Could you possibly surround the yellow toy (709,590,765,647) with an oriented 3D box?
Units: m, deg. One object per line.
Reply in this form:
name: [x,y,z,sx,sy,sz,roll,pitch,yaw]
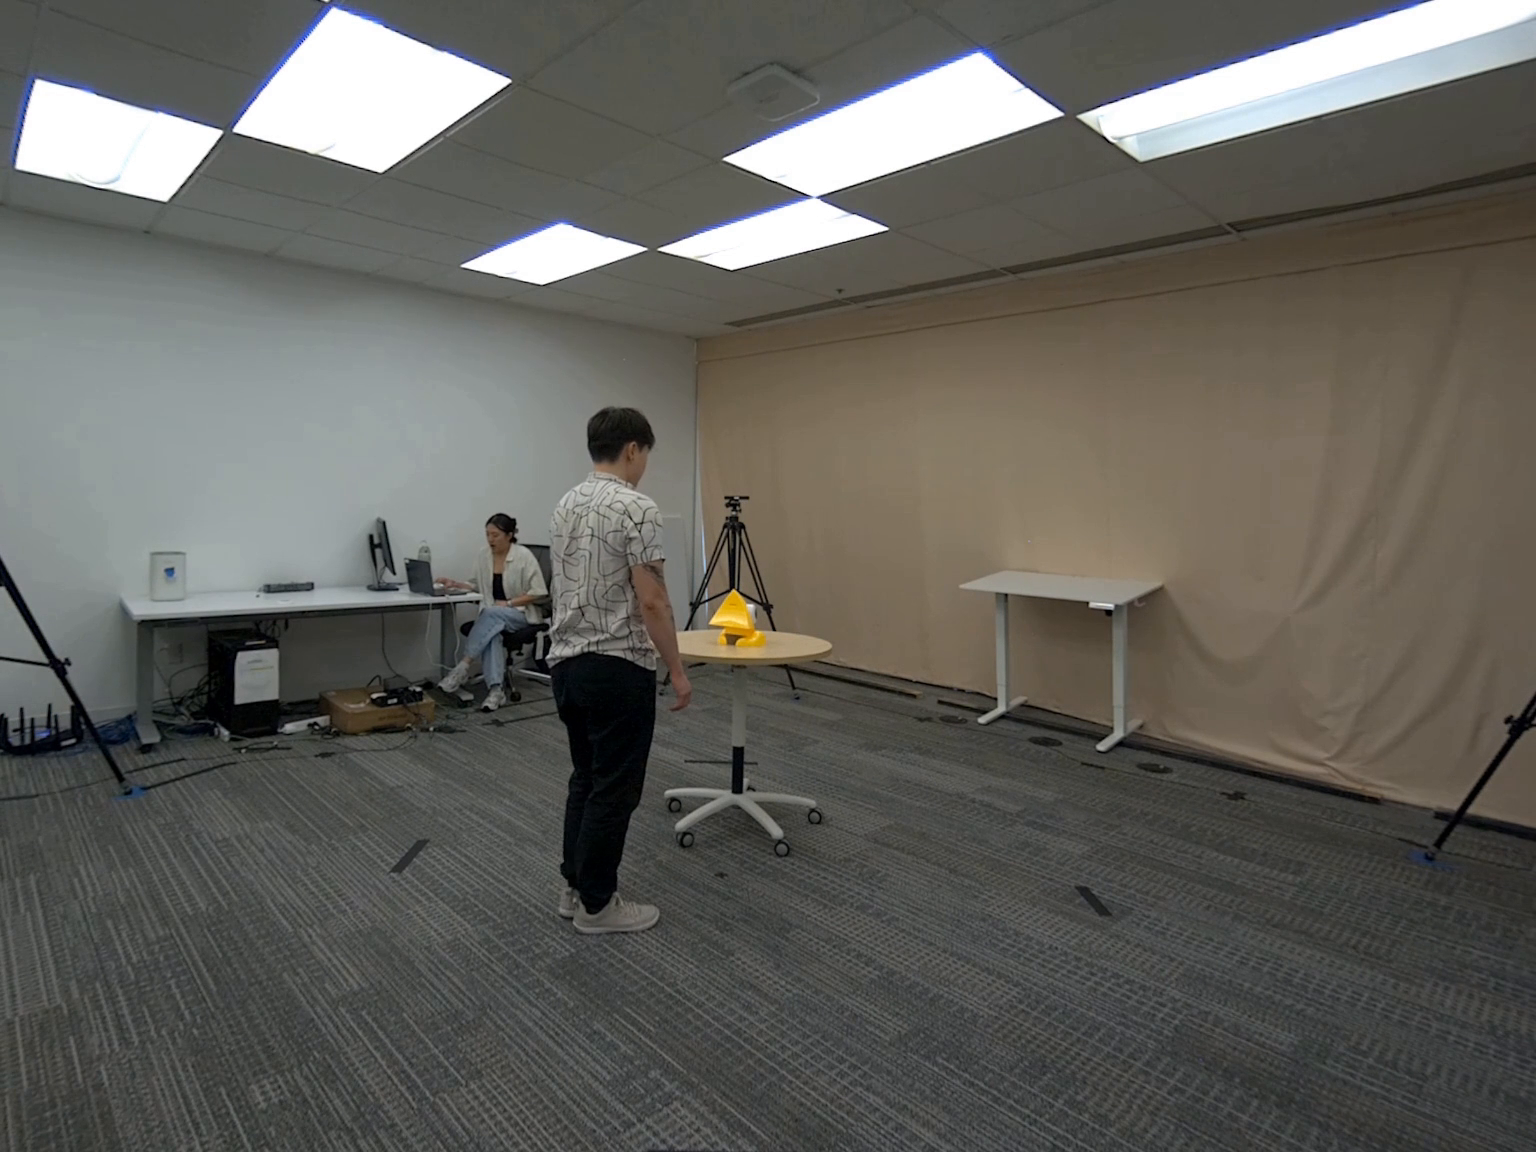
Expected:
yellow toy: [-0.122,0.170,3.538,0.209,0.230,0.189,3,3,35]
